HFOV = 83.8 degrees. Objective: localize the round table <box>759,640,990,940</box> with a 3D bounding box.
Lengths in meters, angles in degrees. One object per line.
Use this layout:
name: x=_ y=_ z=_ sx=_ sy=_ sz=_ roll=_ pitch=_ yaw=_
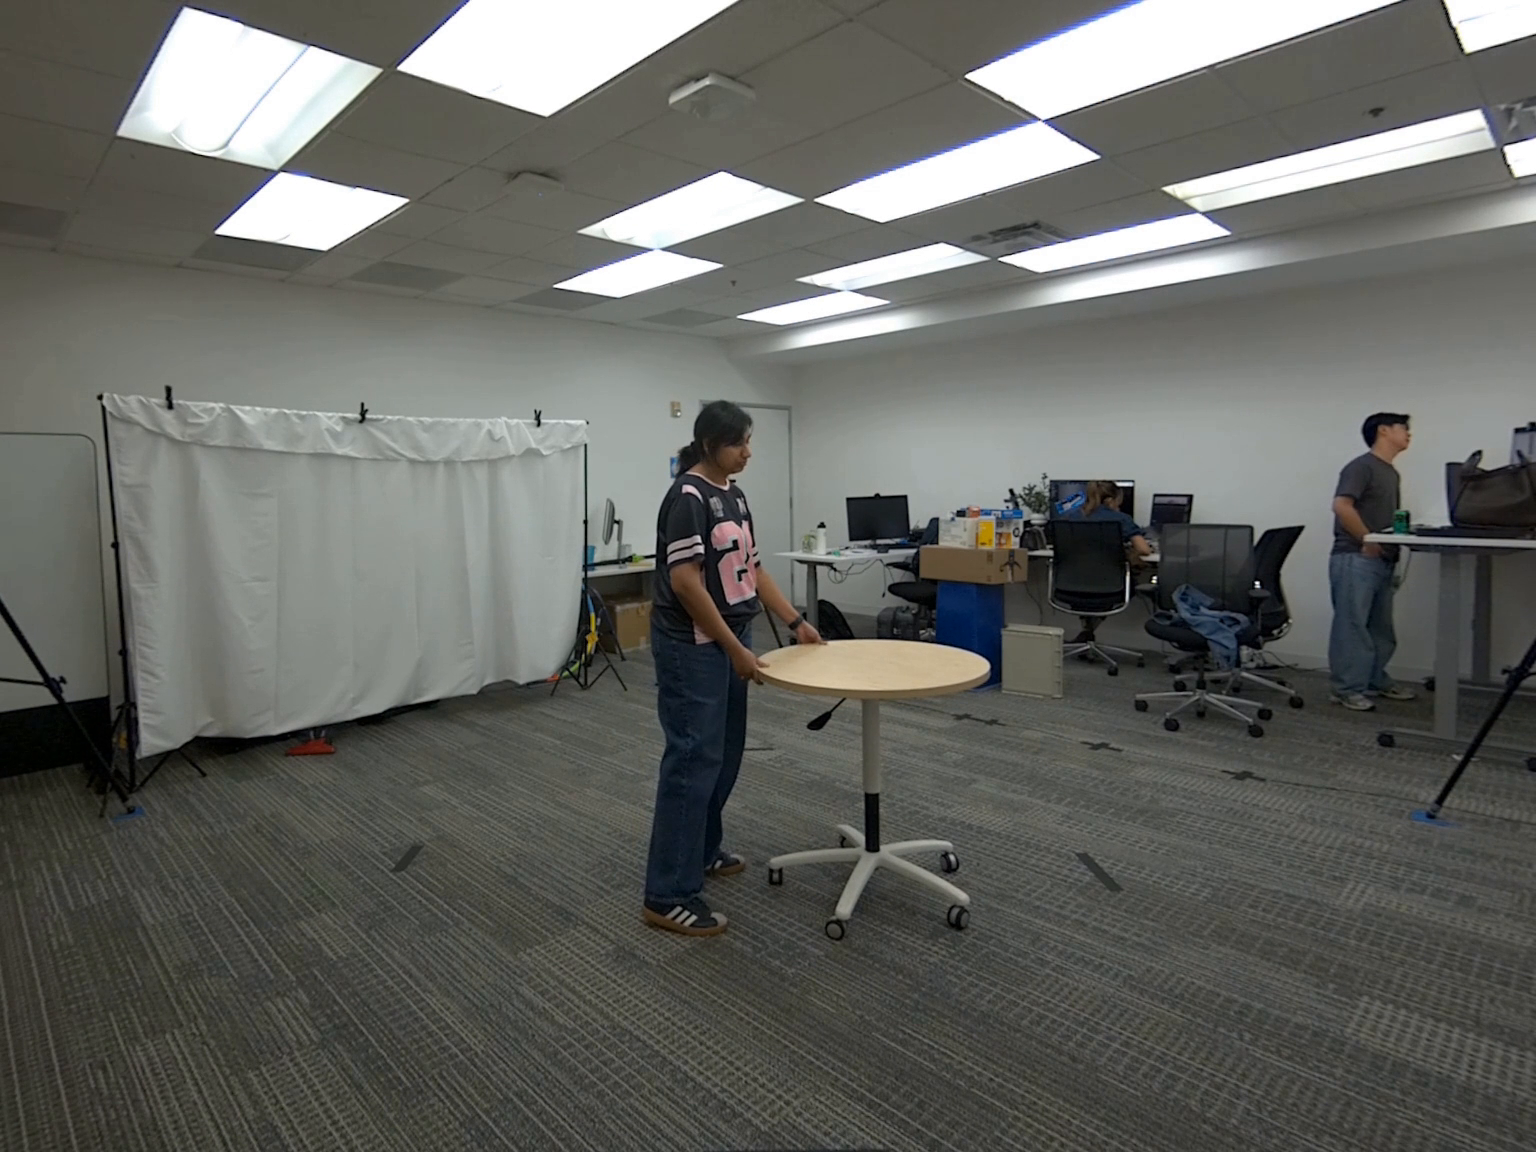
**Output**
round table: x=0.354 y=0.676 z=2.865 sx=0.763 sy=0.791 sz=0.768 roll=-2 pitch=5 yaw=-2
